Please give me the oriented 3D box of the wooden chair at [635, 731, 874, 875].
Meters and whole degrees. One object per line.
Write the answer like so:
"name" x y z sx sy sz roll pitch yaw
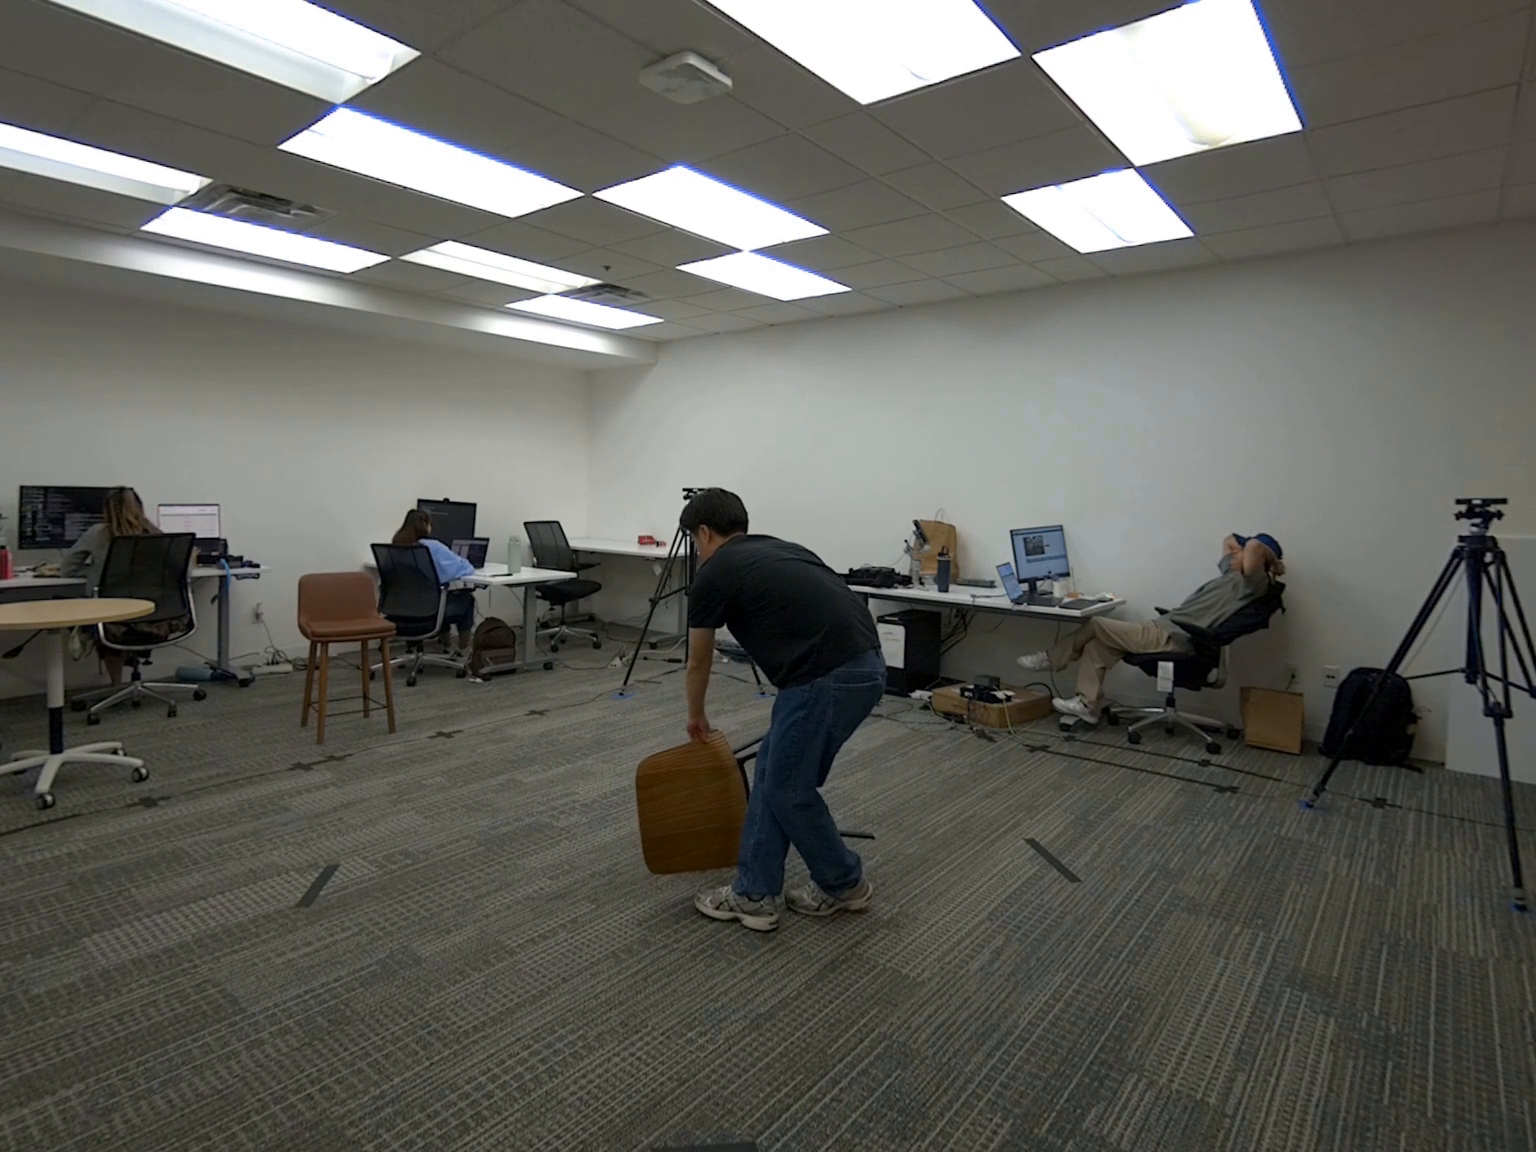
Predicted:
"wooden chair" -0.139 0.804 3.196 0.862 0.482 0.528 -8 -7 -20
